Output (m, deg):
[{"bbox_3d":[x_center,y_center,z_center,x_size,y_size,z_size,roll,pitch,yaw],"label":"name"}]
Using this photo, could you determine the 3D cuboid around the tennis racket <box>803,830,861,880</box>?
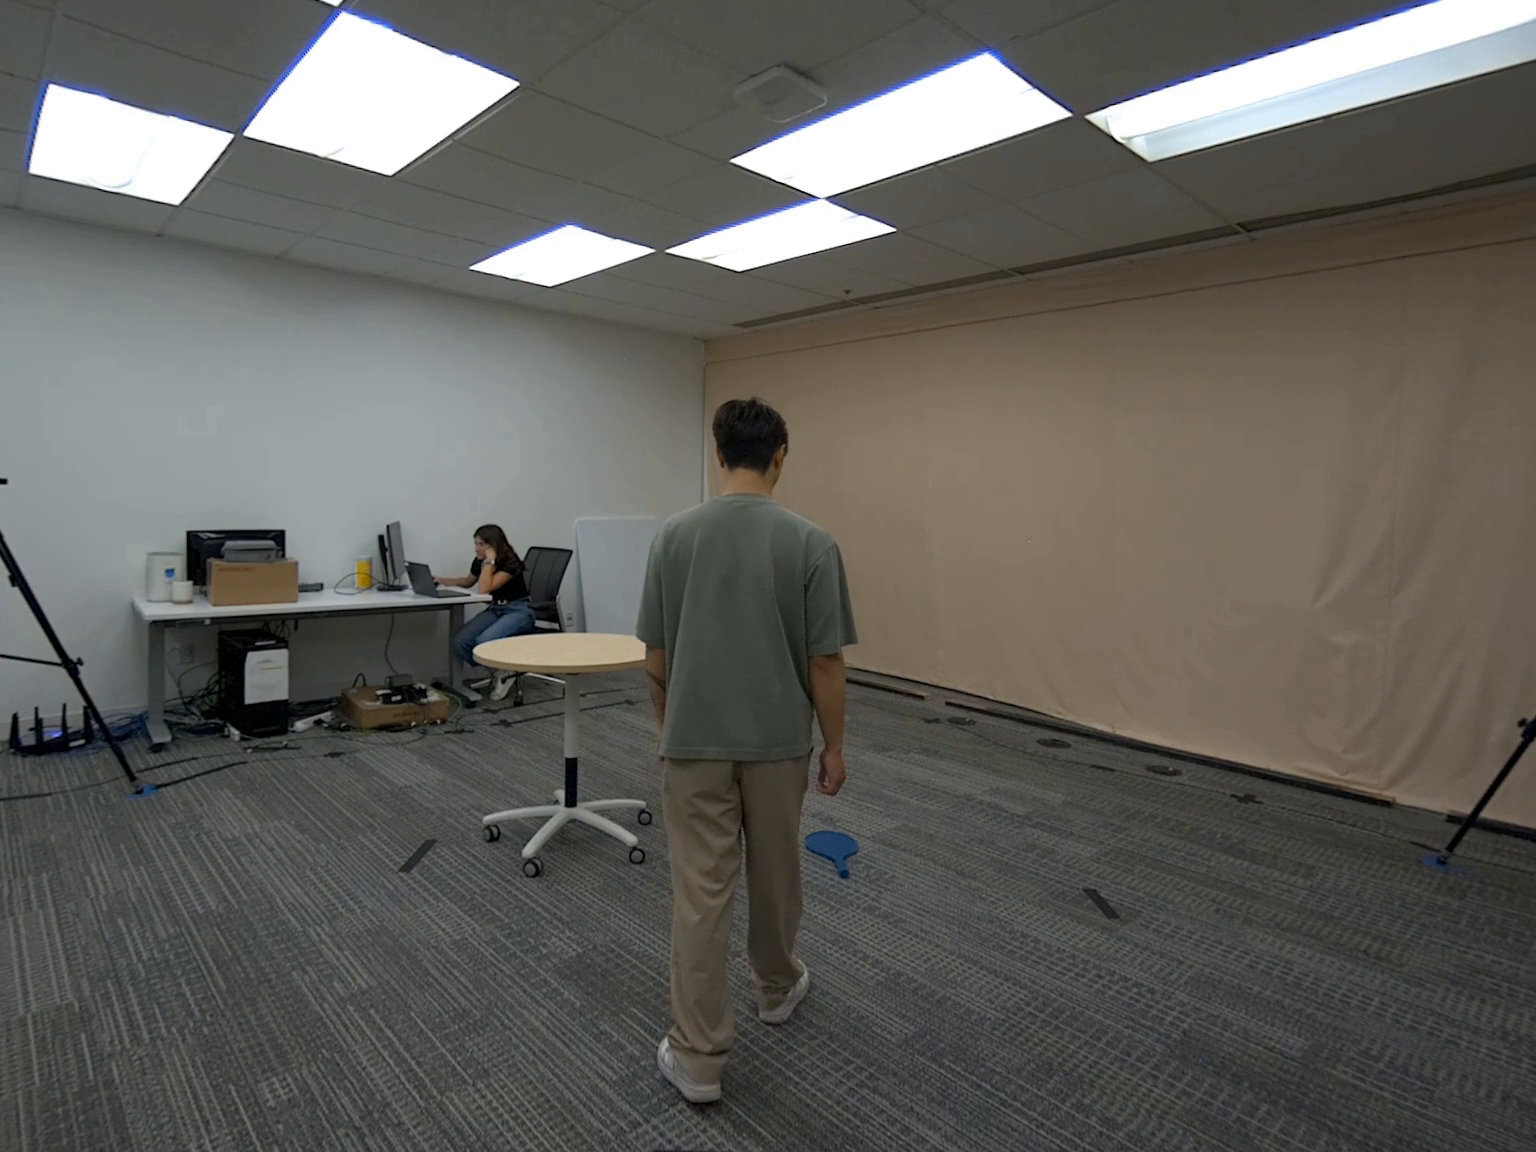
[{"bbox_3d":[0.255,1.083,3.316,0.213,0.032,0.435,1,4,-6],"label":"tennis racket"}]
